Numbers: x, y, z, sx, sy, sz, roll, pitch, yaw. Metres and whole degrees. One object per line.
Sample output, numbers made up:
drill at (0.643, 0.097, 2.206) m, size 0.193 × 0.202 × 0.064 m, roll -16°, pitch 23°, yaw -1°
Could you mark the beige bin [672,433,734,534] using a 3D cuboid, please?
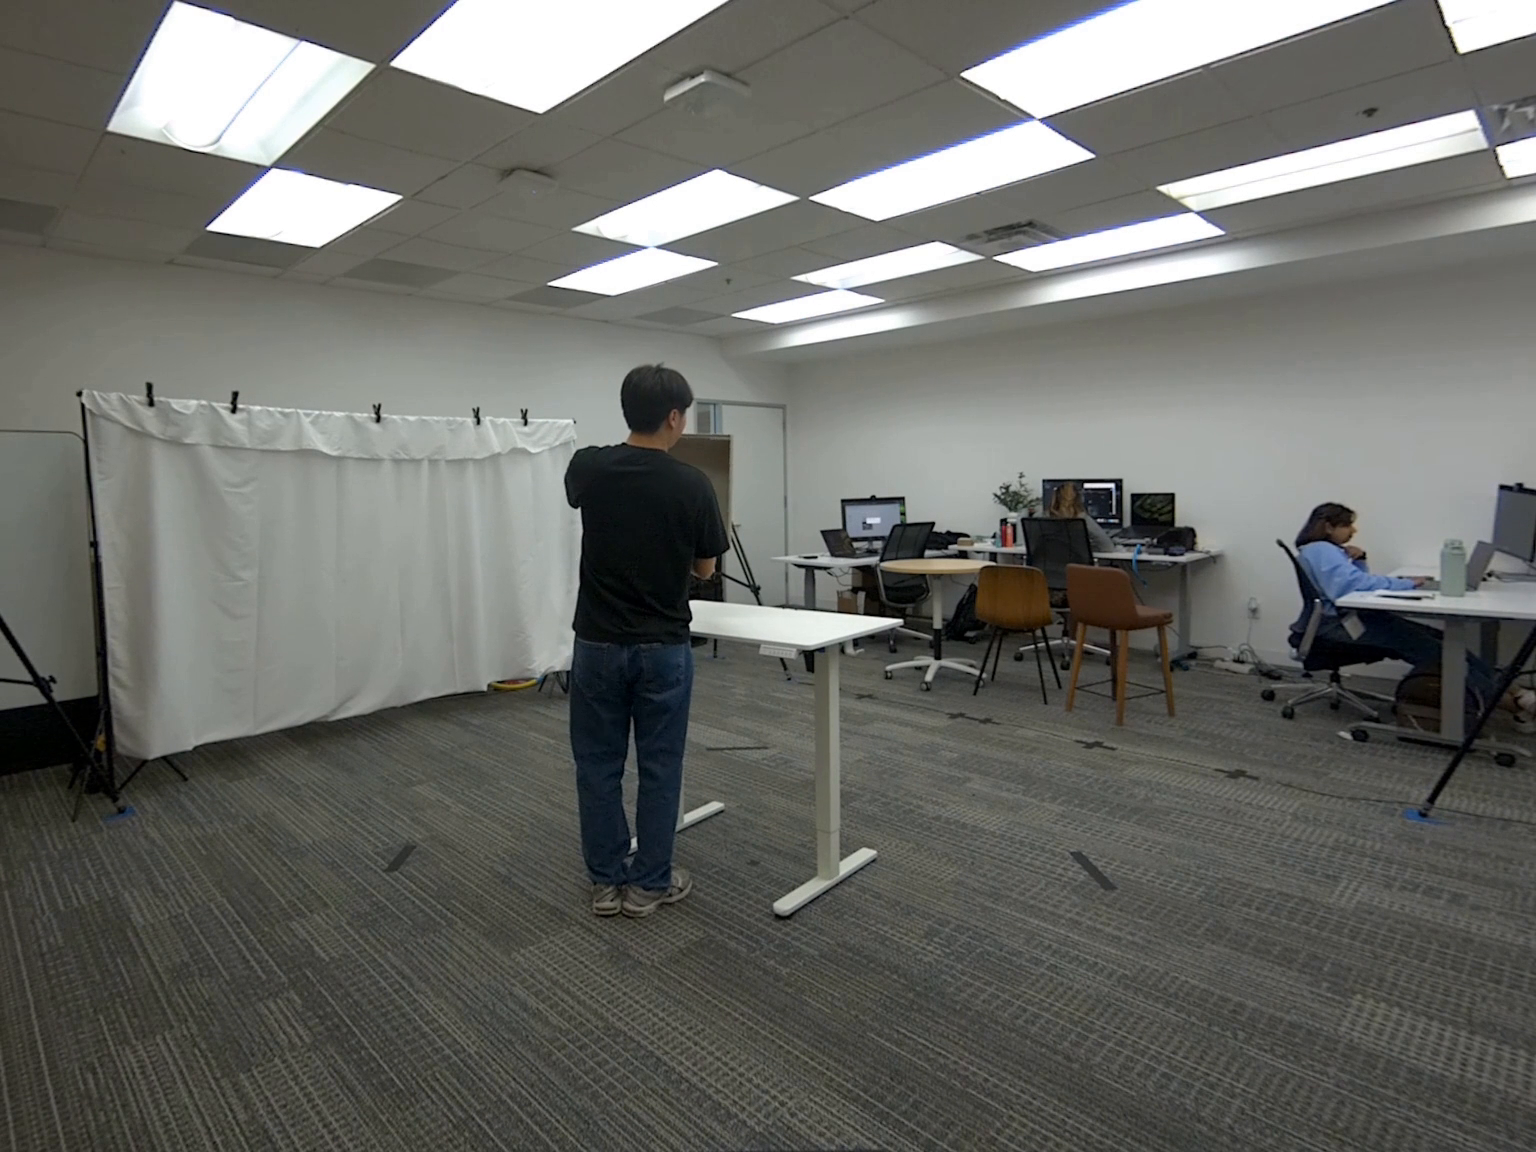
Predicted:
beige bin at (-0.316, -0.315, 3.186) m, size 0.378 × 0.422 × 0.189 m, roll 2°, pitch 2°, yaw 1°
